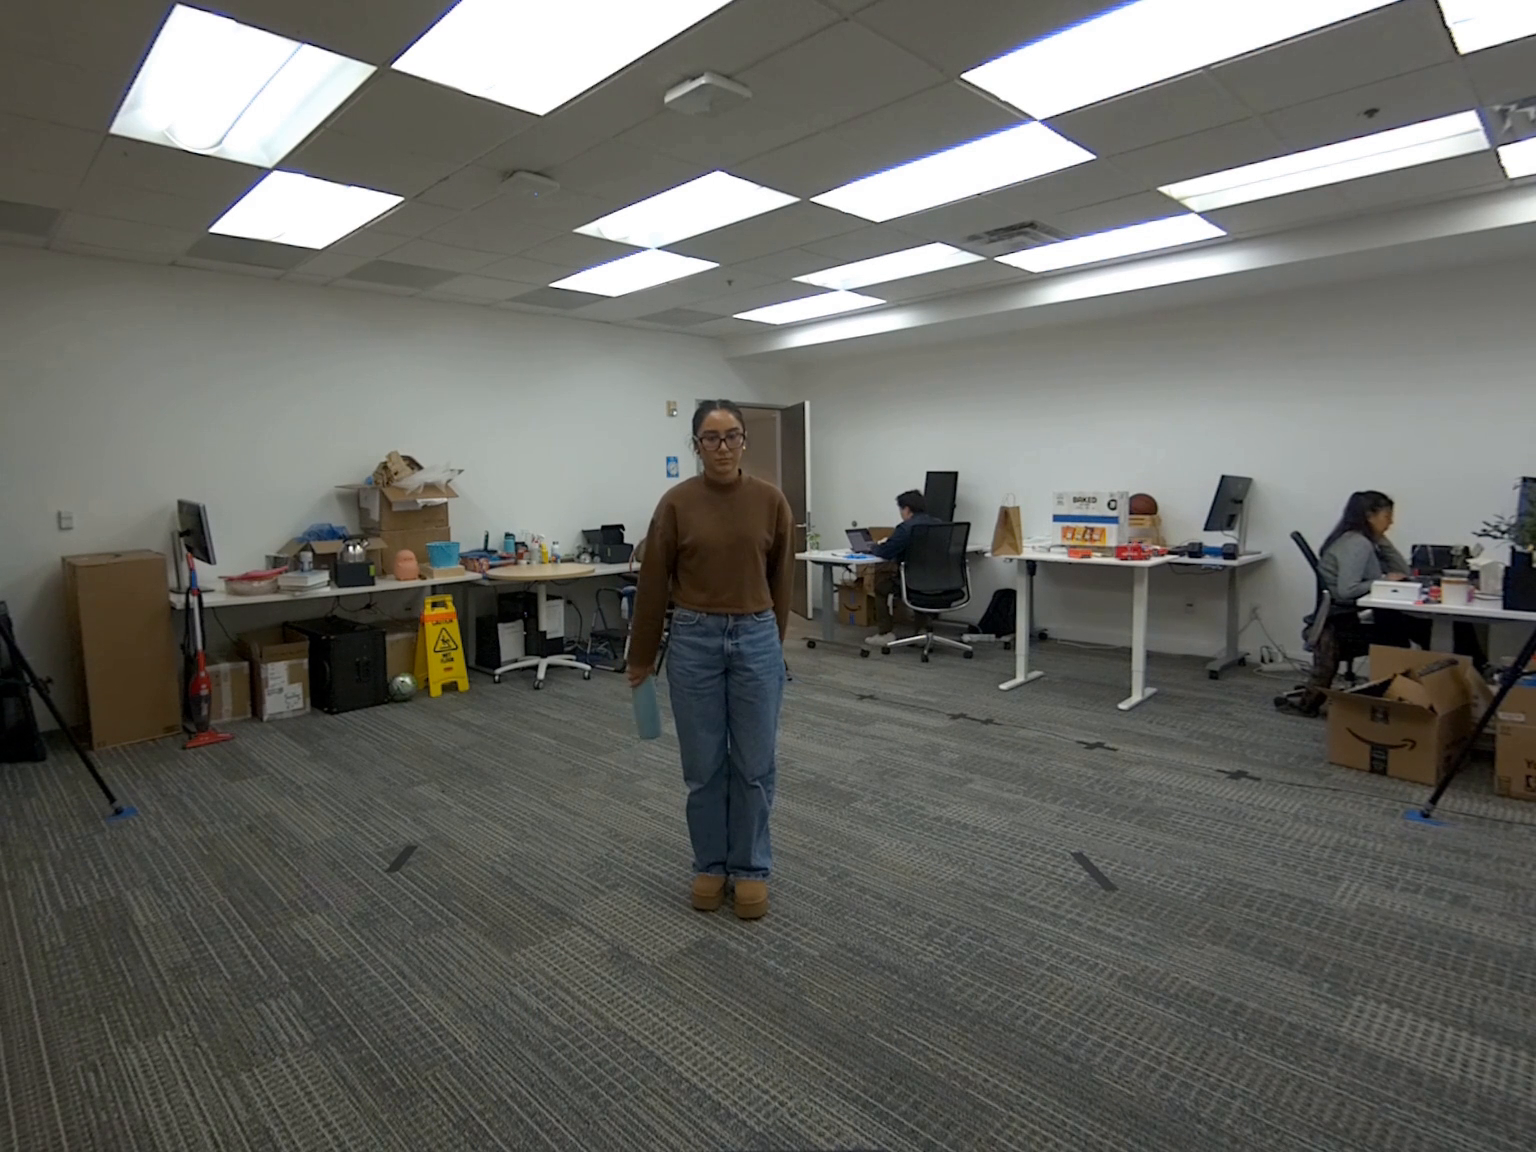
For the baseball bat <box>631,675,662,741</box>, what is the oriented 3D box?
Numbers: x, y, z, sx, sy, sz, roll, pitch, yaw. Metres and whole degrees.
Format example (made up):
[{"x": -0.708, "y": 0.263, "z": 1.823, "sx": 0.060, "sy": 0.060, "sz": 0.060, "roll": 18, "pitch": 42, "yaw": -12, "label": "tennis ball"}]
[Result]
[{"x": -0.426, "y": 0.300, "z": 2.927, "sx": 0.089, "sy": 0.537, "sz": 0.090, "roll": -6, "pitch": 10, "yaw": 0, "label": "baseball bat"}]
